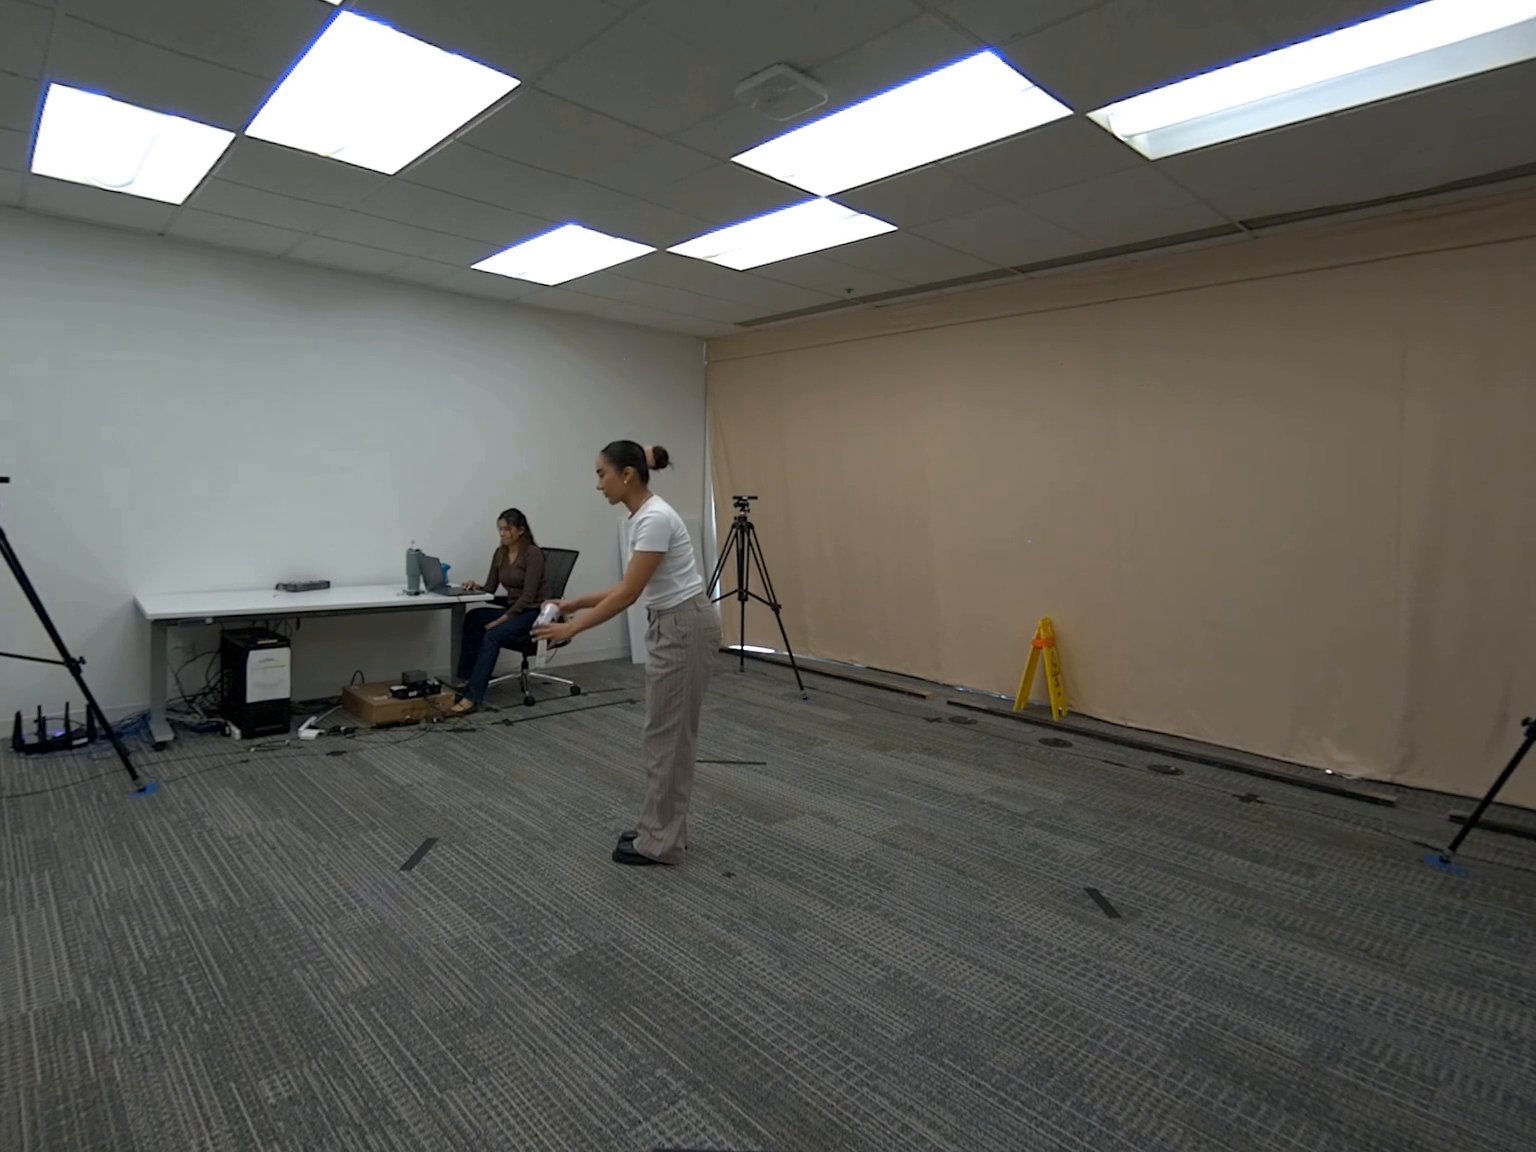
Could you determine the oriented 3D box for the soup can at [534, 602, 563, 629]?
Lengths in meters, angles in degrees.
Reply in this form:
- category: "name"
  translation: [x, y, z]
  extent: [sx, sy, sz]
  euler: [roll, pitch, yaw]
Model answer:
- category: "soup can"
  translation: [-0.825, 0.201, 3.156]
  extent: [0.067, 0.122, 0.066]
  euler: [24, -10, 3]
